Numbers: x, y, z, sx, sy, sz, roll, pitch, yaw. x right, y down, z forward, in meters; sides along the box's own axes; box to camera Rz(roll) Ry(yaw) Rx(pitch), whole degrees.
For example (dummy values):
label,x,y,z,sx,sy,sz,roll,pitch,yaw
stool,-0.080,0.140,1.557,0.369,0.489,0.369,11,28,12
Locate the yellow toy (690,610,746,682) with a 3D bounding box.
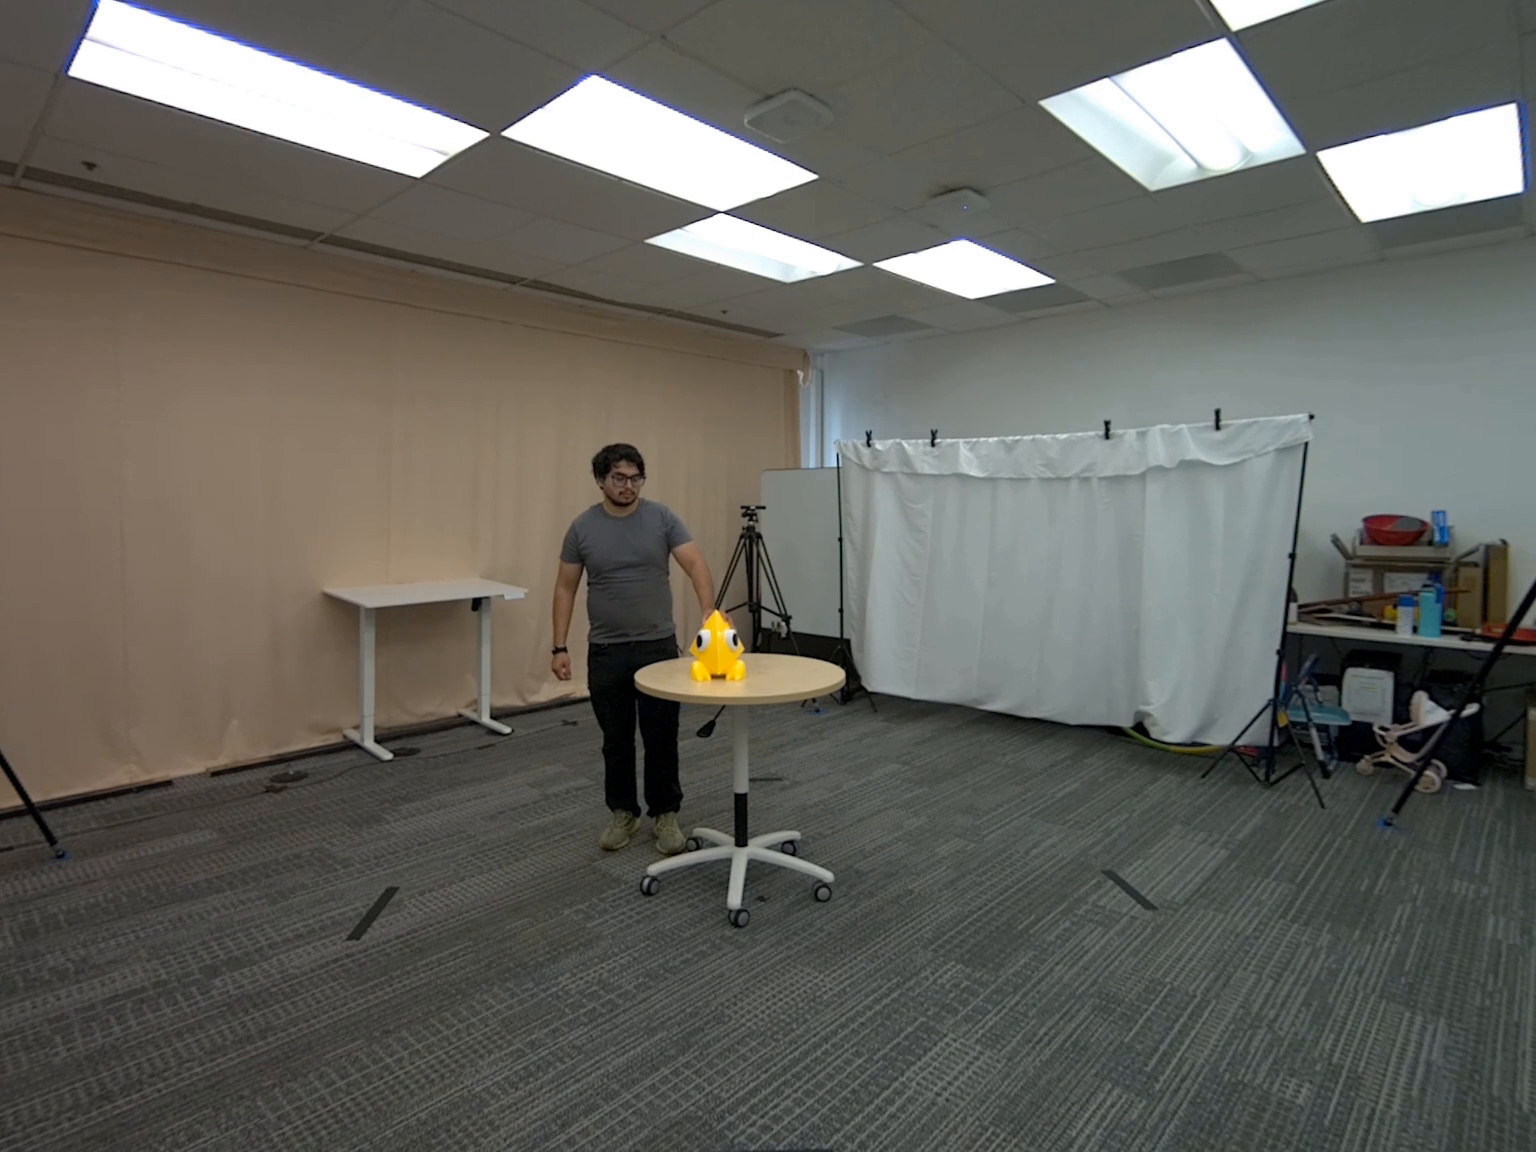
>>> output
label,x,y,z,sx,sy,sz,roll,pitch,yaw
yellow toy,-0.177,0.246,3.018,0.204,0.230,0.194,-1,4,-4
